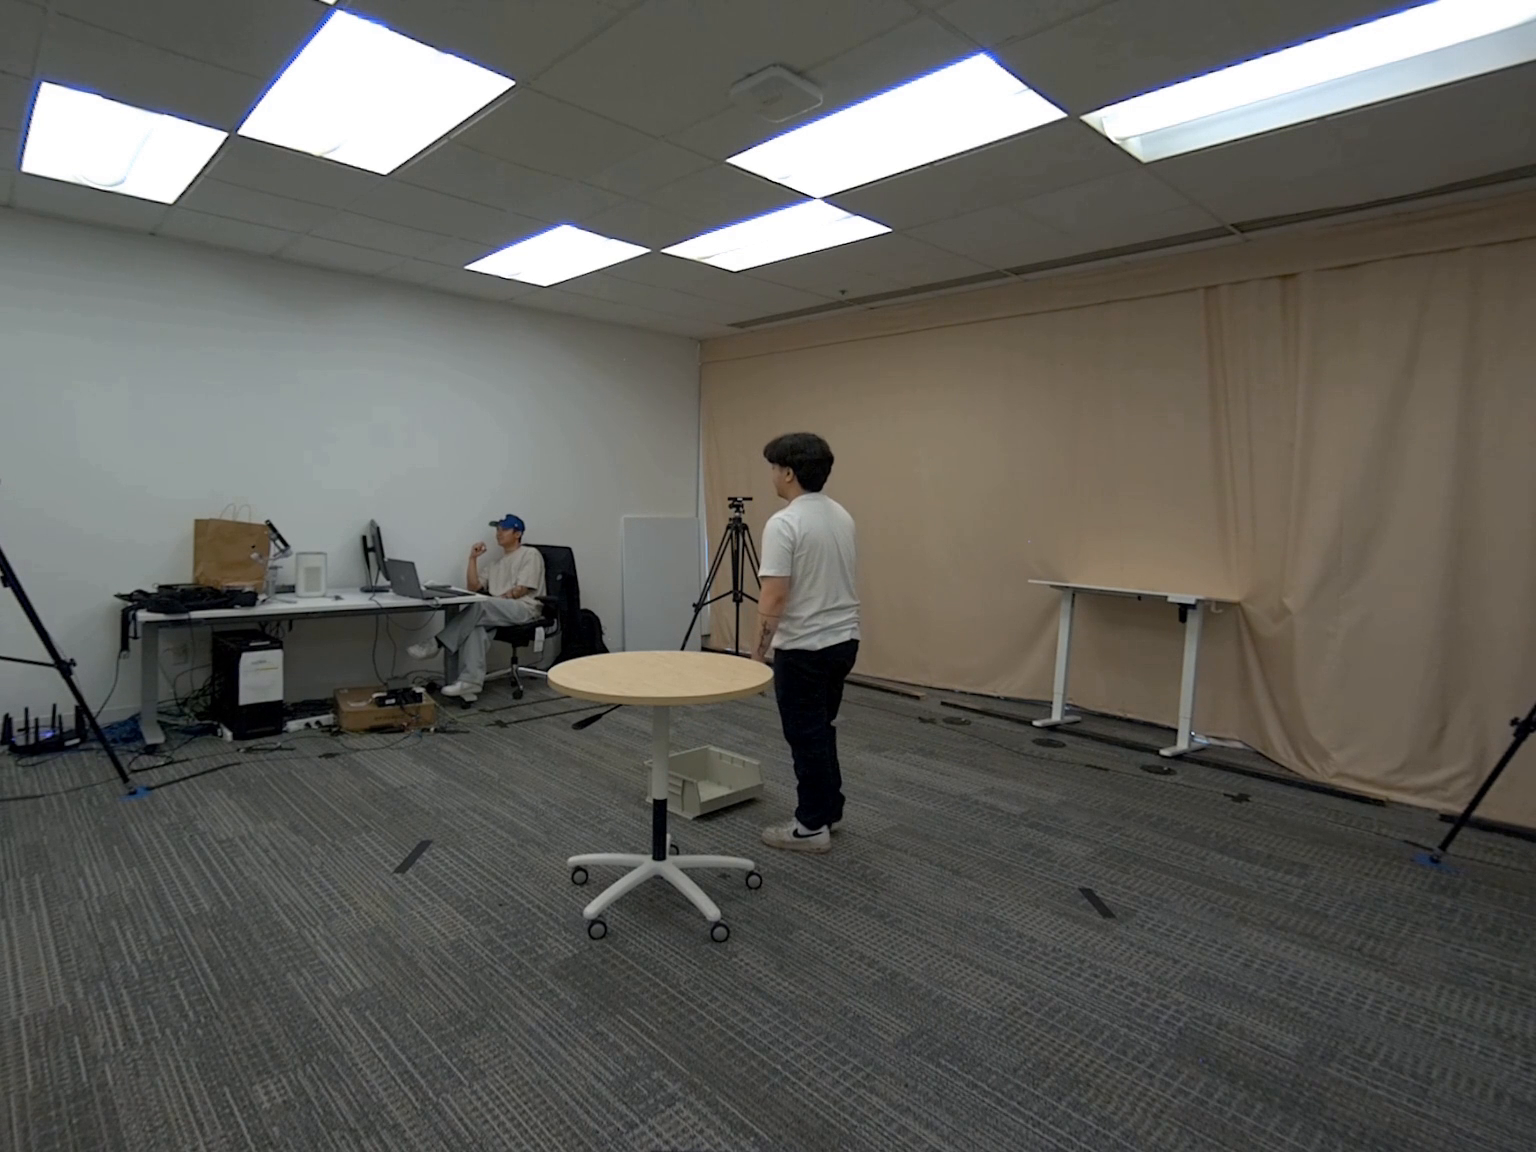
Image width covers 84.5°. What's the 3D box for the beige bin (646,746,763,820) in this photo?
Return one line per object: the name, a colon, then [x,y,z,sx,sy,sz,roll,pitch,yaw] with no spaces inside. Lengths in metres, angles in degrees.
beige bin: [-0.302,0.952,3.887,0.387,0.188,0.413,5,6,43]
